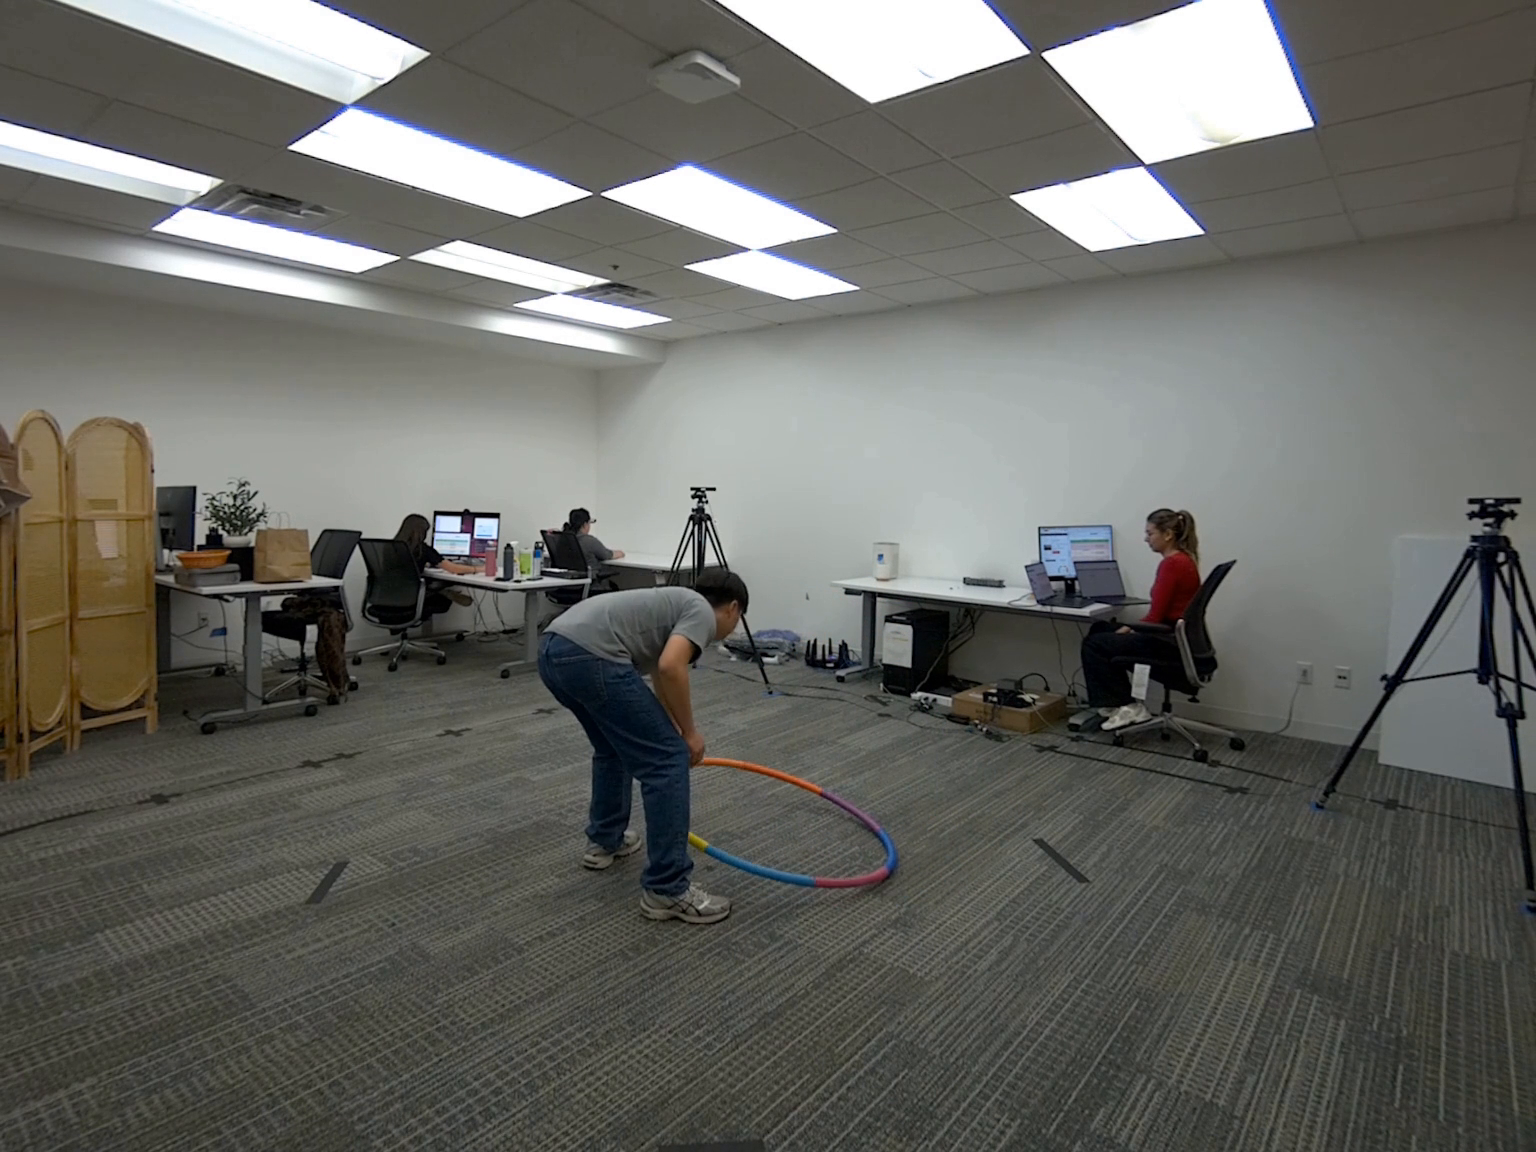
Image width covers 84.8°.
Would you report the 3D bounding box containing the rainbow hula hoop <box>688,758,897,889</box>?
[{"bbox_3d":[0.014,0.920,3.297,0.976,0.035,0.986,14,7,-3],"label":"rainbow hula hoop"}]
